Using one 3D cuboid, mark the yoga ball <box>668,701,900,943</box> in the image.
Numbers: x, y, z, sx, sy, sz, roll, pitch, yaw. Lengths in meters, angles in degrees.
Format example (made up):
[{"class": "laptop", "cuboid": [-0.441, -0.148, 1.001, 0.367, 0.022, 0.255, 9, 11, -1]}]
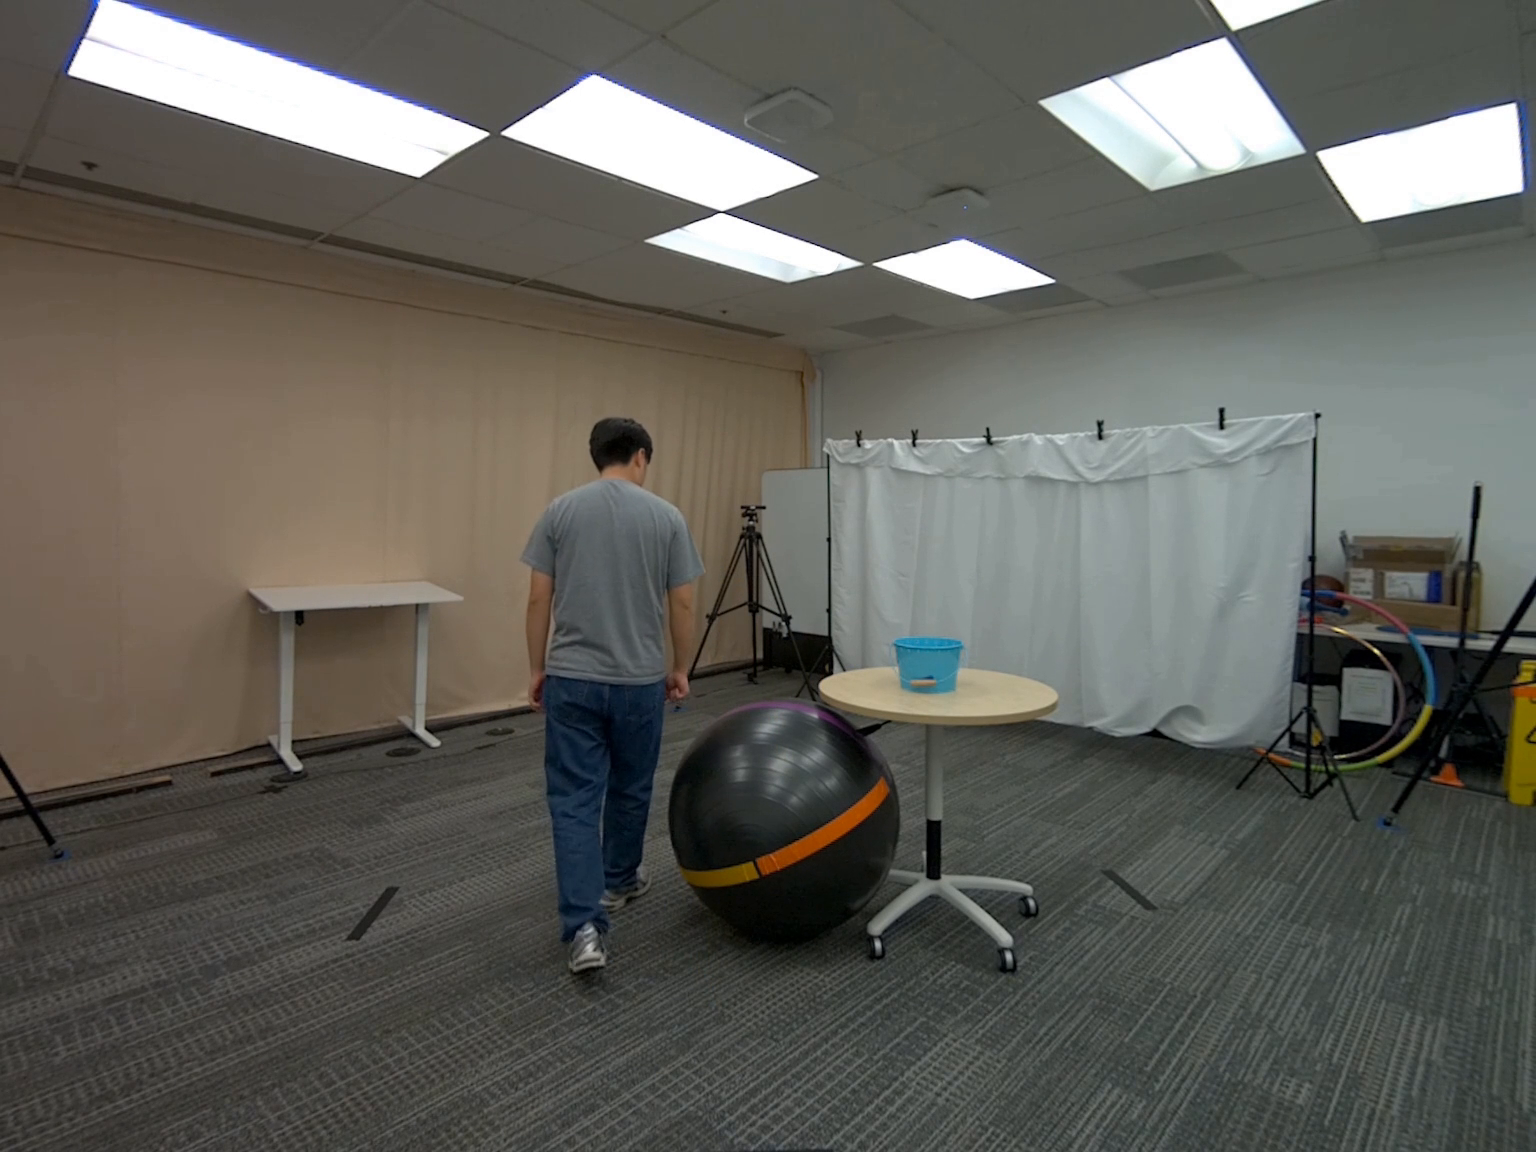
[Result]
[{"class": "yoga ball", "cuboid": [0.052, 0.785, 2.779, 0.757, 0.756, 0.760, 0, 4, -2]}]
